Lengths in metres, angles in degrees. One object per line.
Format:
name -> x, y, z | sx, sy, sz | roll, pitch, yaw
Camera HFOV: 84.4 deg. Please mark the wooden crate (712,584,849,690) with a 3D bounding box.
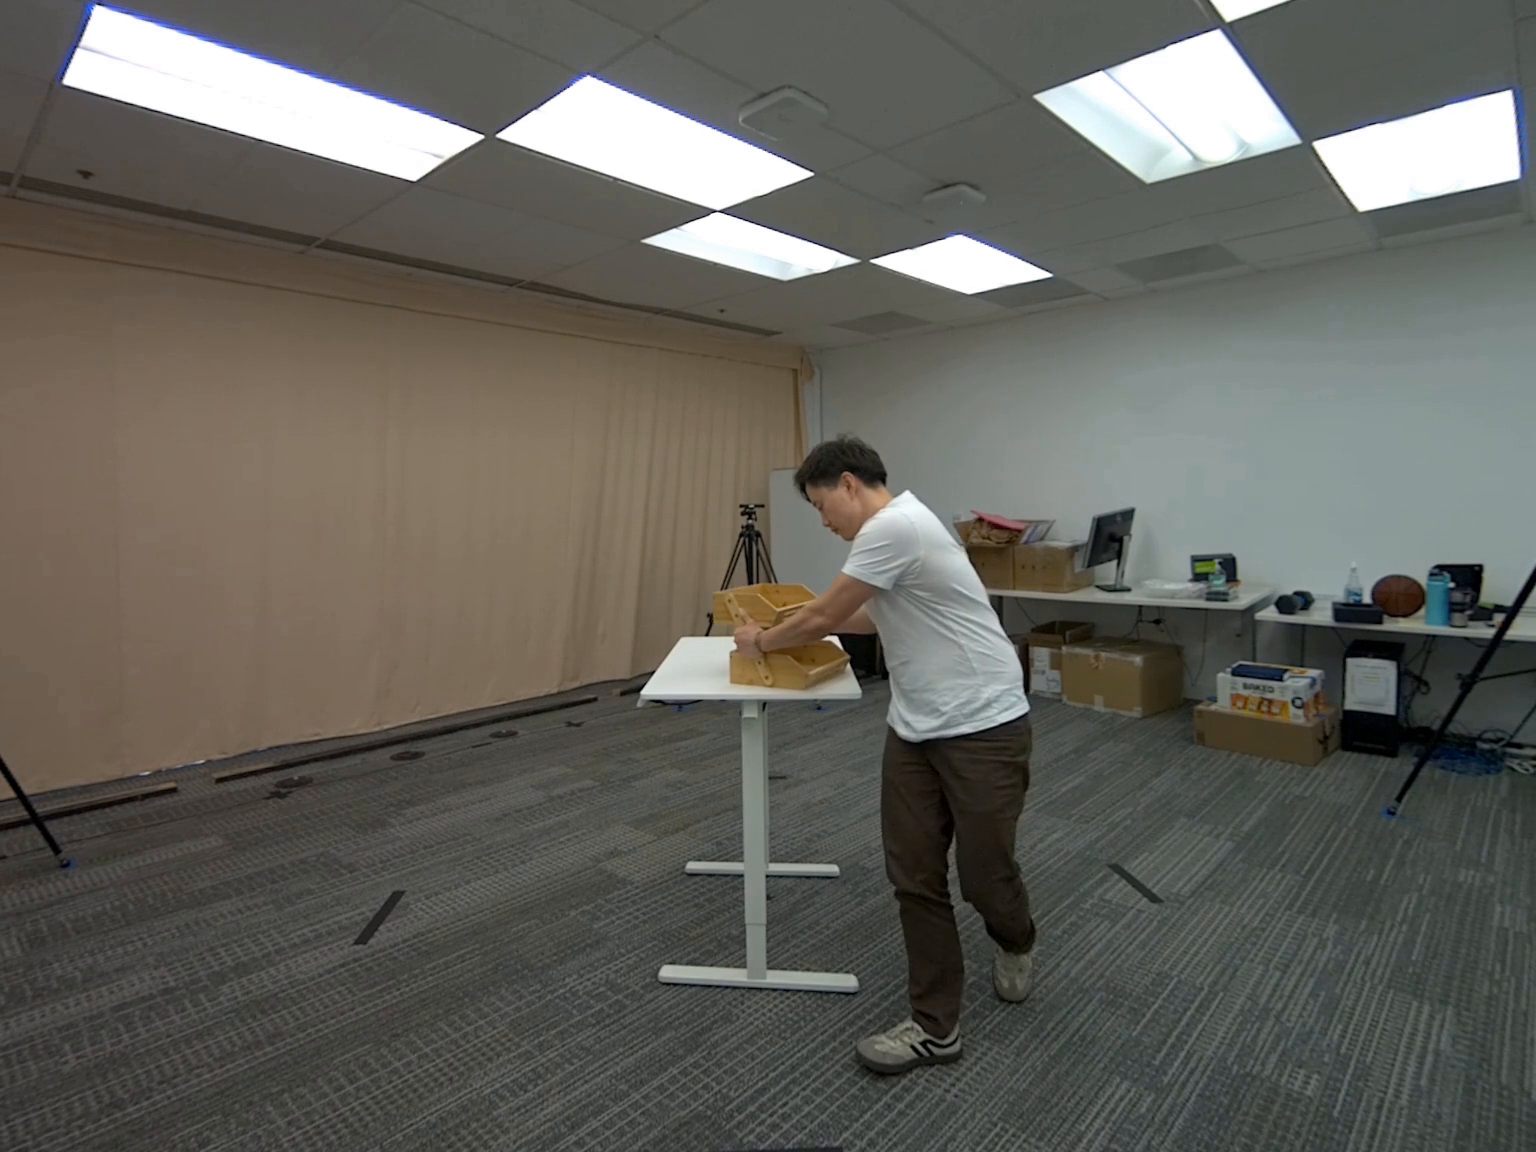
wooden crate -> 0.049, 0.166, 2.479 | 0.310, 0.273, 0.316 | 1, 4, 29
